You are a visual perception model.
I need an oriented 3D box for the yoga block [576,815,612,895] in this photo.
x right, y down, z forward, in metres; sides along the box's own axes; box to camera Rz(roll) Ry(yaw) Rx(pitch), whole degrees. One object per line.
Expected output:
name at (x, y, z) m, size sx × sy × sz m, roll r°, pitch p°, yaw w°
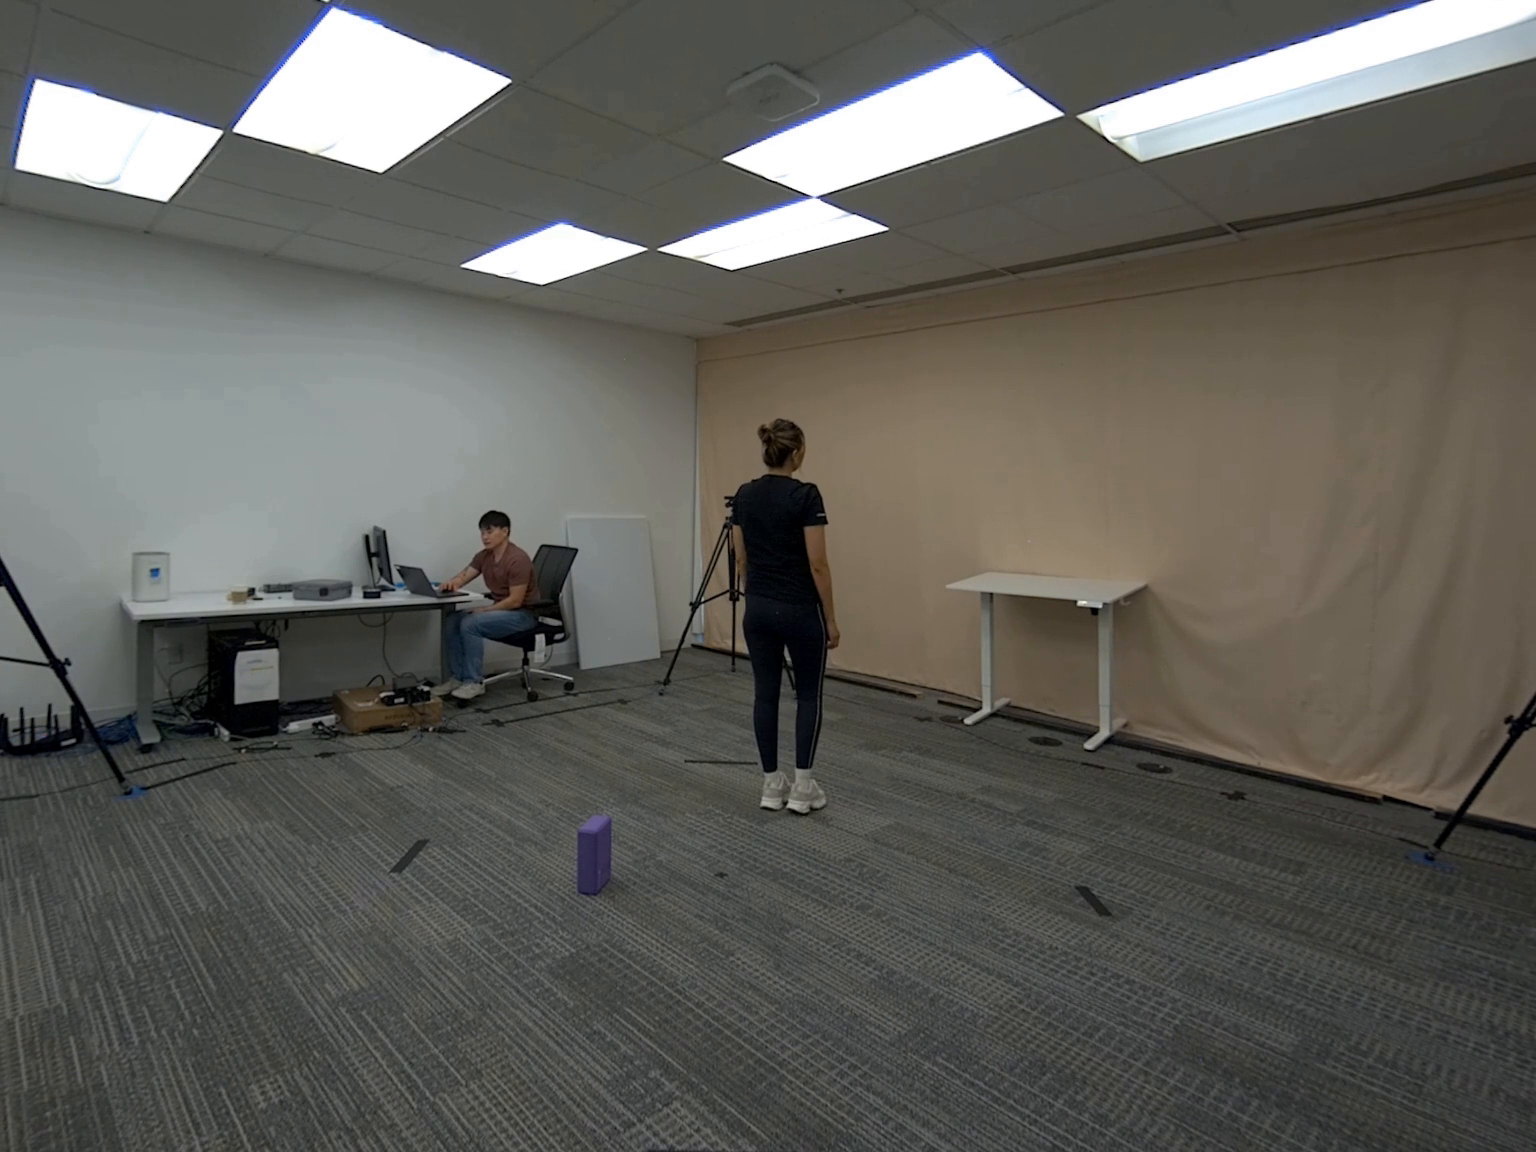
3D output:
yoga block at (-0.623, 0.991, 2.984) m, size 0.077 × 0.228 × 0.148 m, roll 2°, pitch 5°, yaw 10°
